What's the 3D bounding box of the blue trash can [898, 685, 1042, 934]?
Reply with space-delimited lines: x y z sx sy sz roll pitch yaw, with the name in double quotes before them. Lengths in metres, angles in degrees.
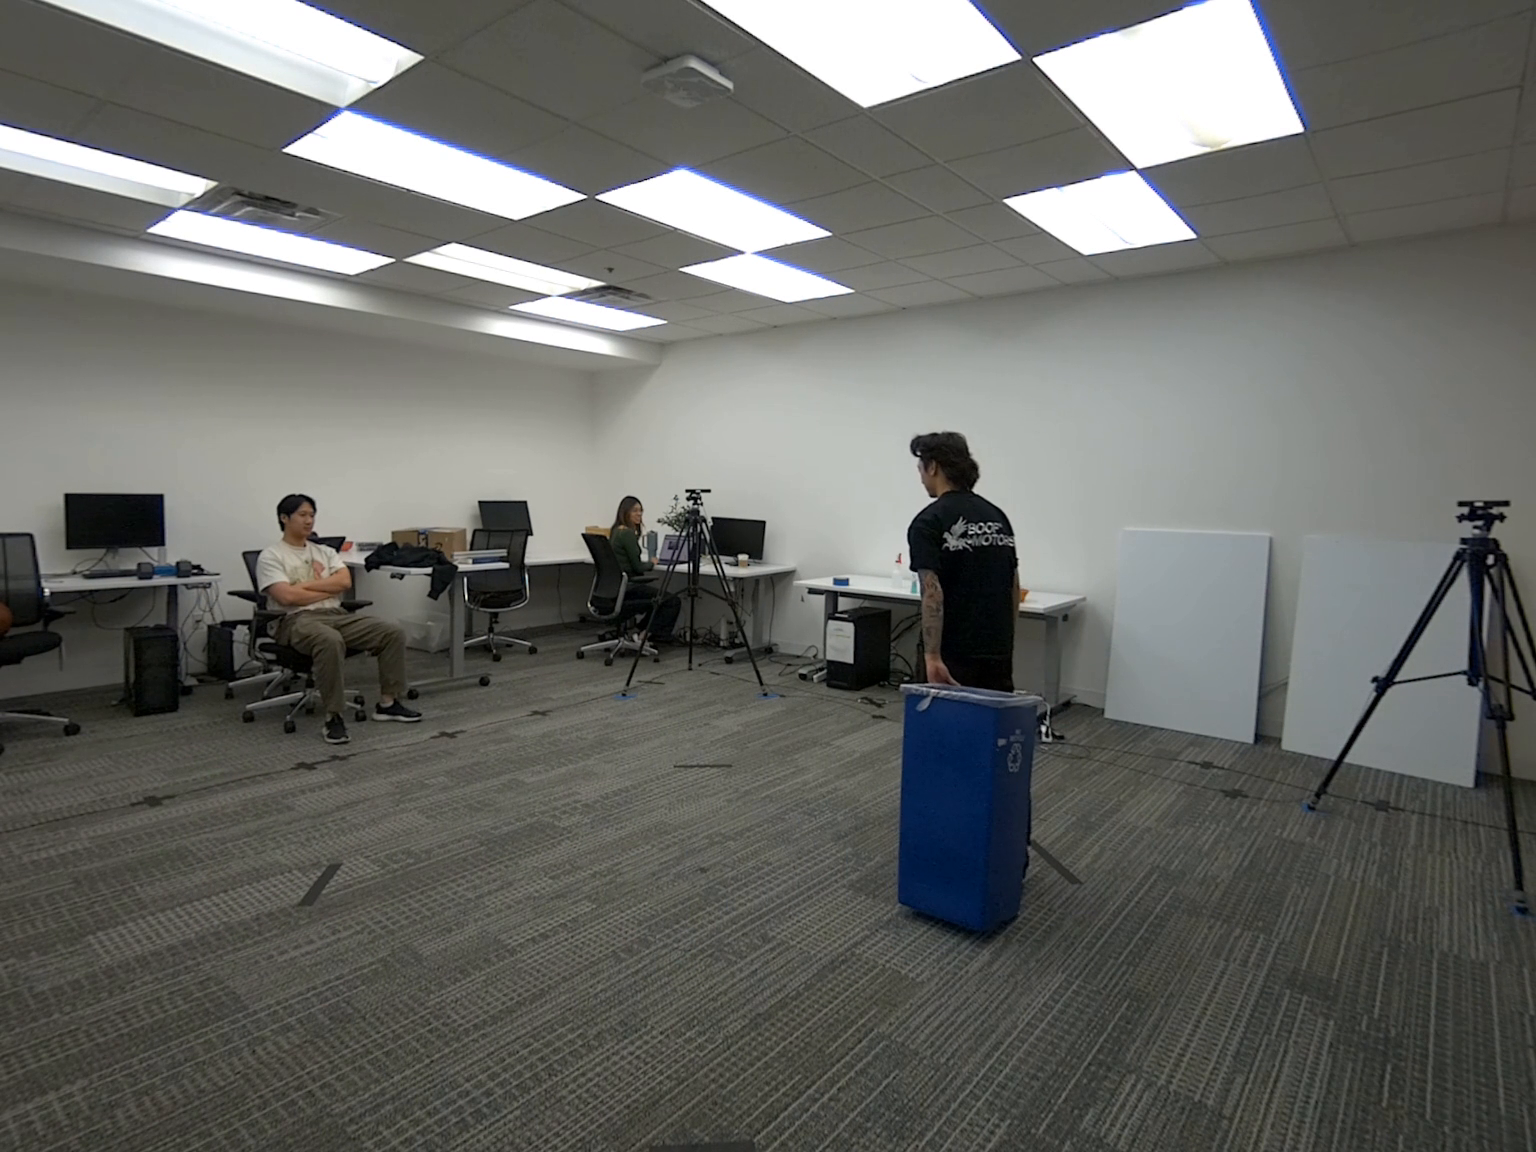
"blue trash can" 0.652 0.745 2.872 0.390 0.716 0.361 2 -5 39
